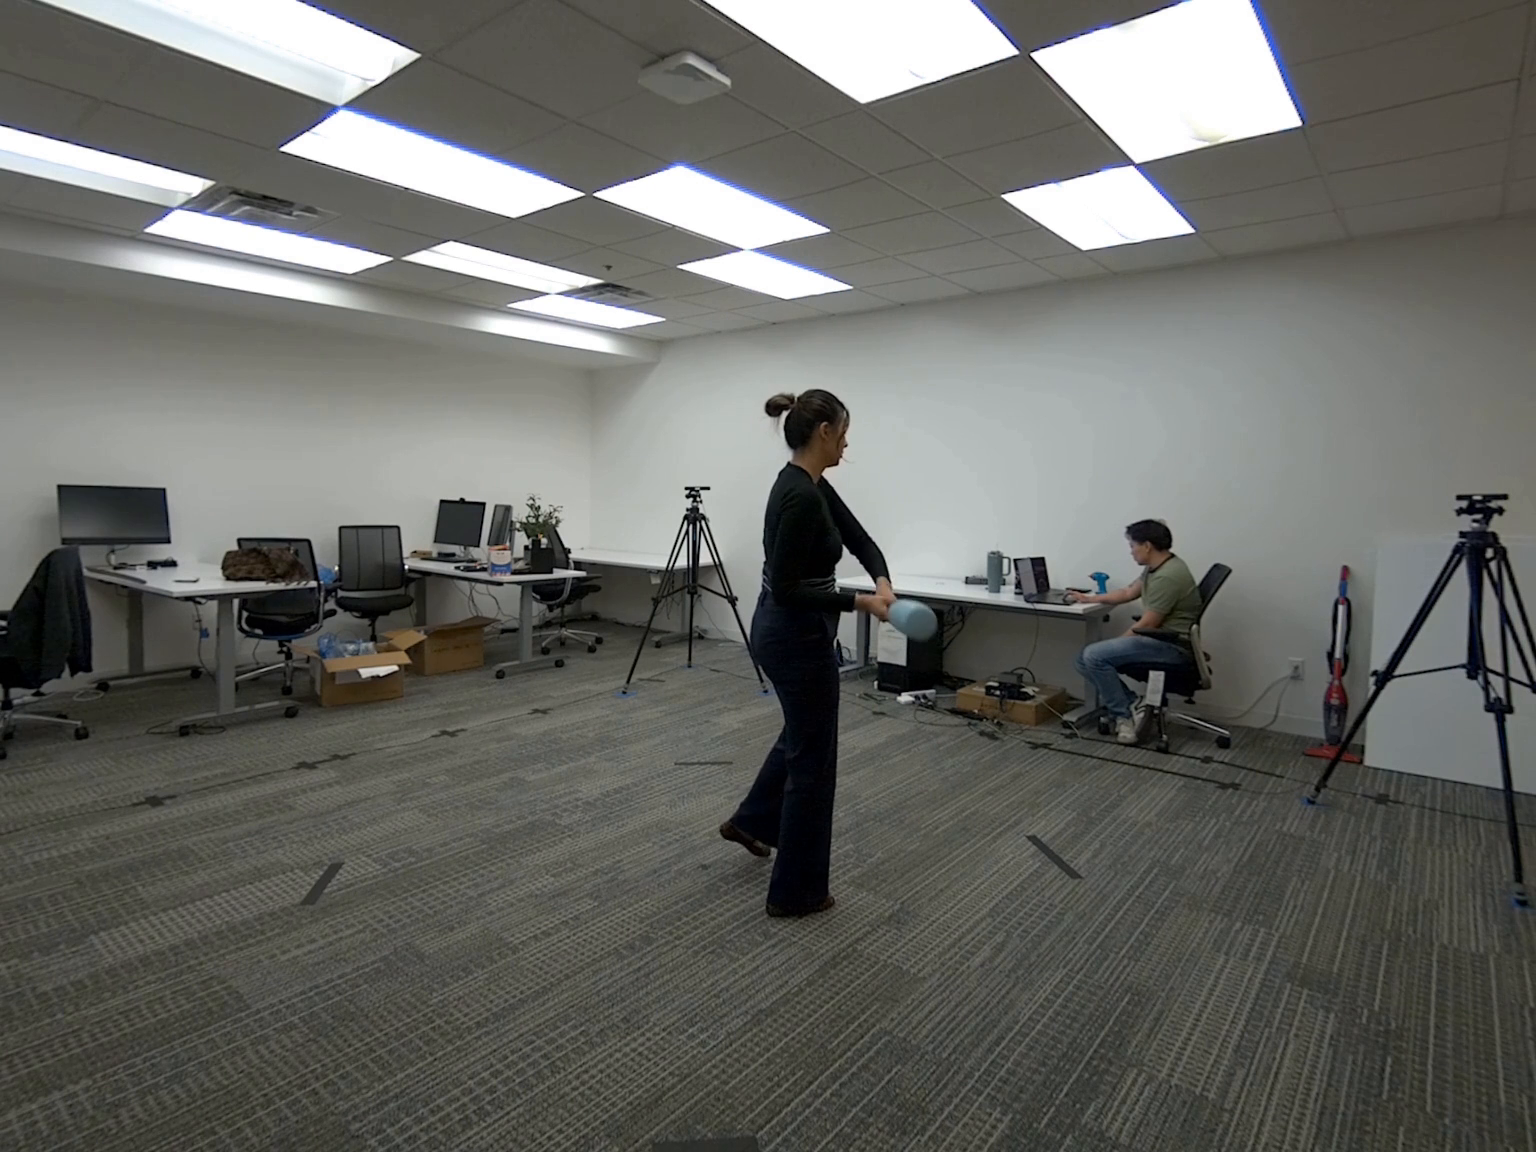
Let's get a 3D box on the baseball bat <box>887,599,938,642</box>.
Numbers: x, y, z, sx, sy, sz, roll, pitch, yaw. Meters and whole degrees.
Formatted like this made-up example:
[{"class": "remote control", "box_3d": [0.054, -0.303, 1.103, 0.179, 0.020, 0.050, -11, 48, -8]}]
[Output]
[{"class": "baseball bat", "box_3d": [0.334, 0.097, 2.371, 0.088, 0.089, 0.546, 0, 3, -6]}]
